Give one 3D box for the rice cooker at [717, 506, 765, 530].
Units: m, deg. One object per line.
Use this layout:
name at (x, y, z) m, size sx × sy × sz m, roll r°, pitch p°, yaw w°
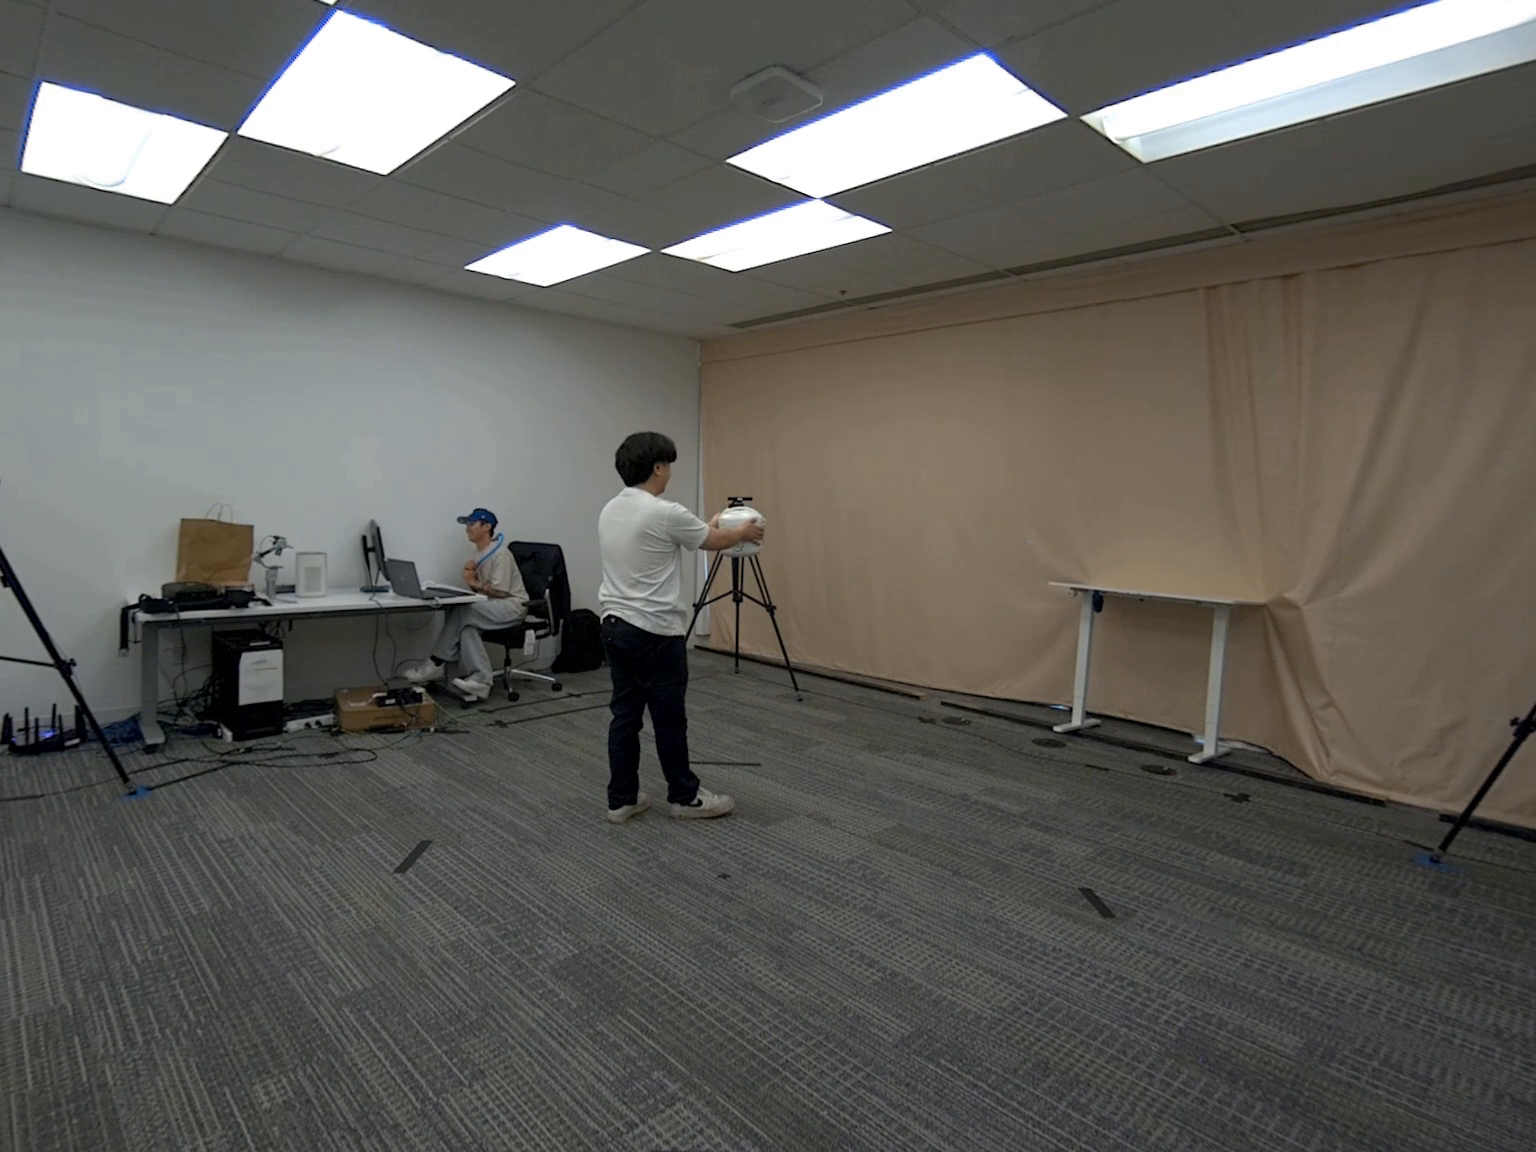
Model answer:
rice cooker at (-0.135, -0.216, 4.023) m, size 0.222 × 0.231 × 0.217 m, roll -2°, pitch 9°, yaw 11°
